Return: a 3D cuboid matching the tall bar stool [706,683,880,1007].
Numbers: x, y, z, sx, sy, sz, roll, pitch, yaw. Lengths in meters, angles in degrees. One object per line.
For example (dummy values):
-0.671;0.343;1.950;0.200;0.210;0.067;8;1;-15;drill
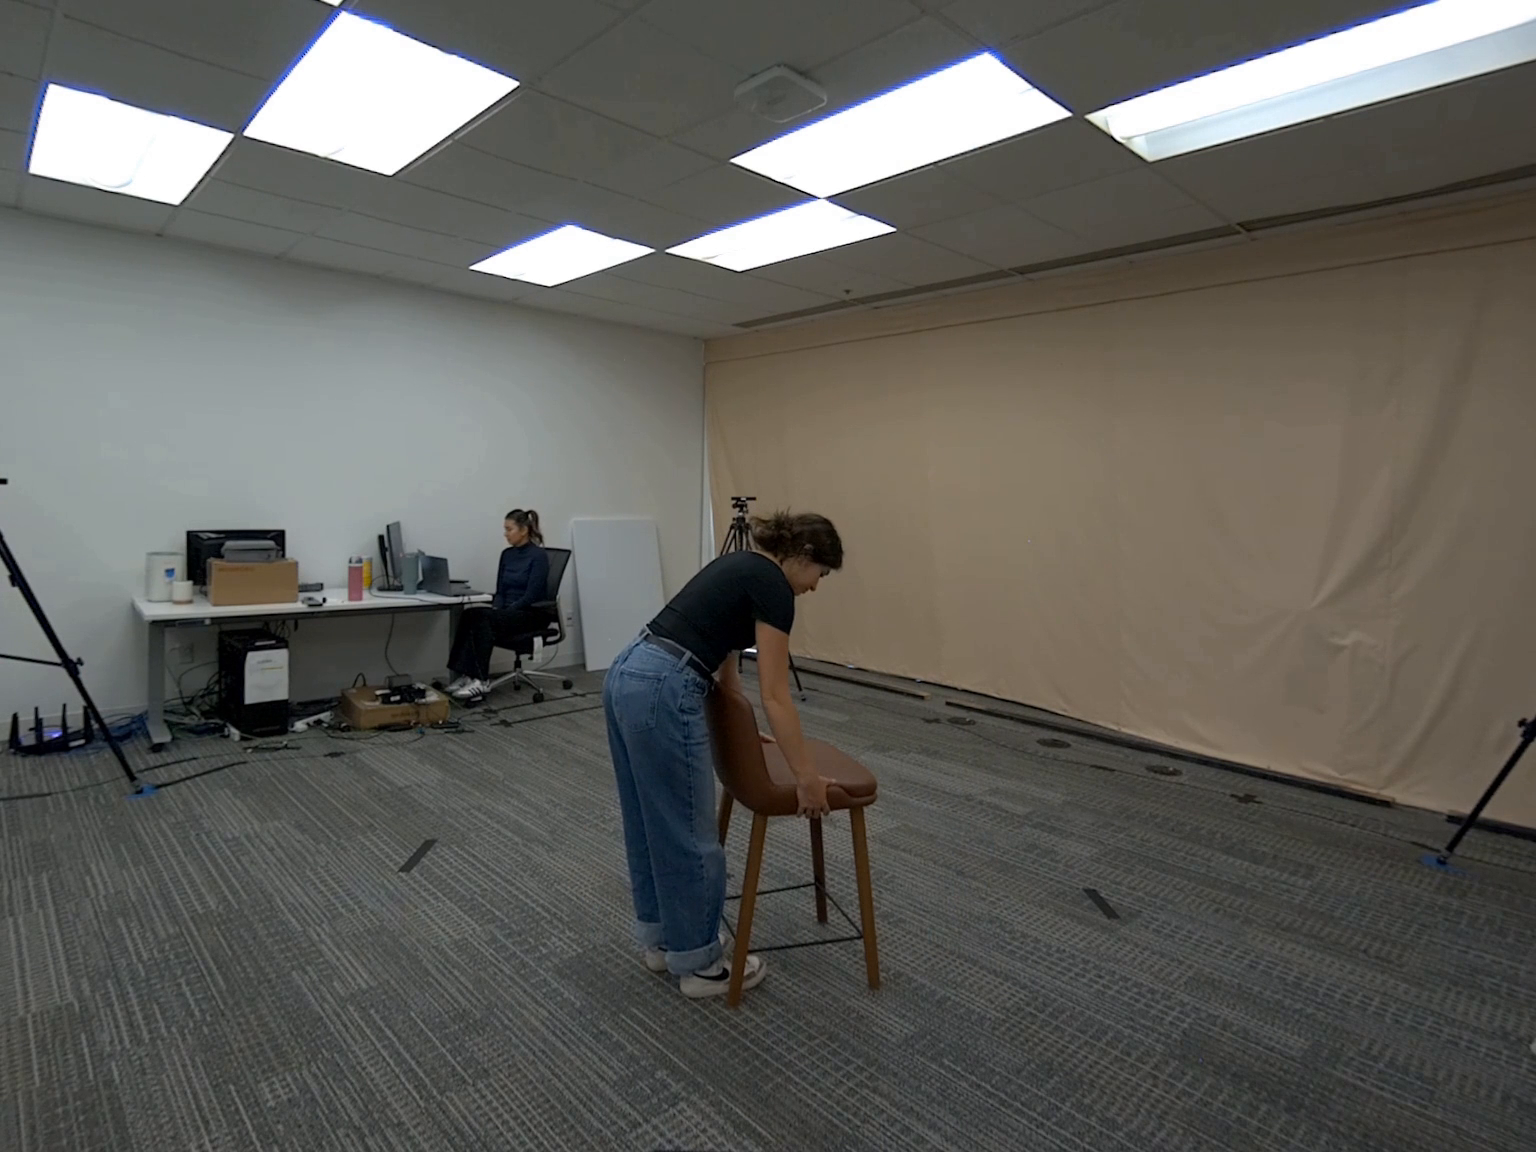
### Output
0.052;0.727;2.507;0.461;0.887;0.464;-1;4;-19;tall bar stool
